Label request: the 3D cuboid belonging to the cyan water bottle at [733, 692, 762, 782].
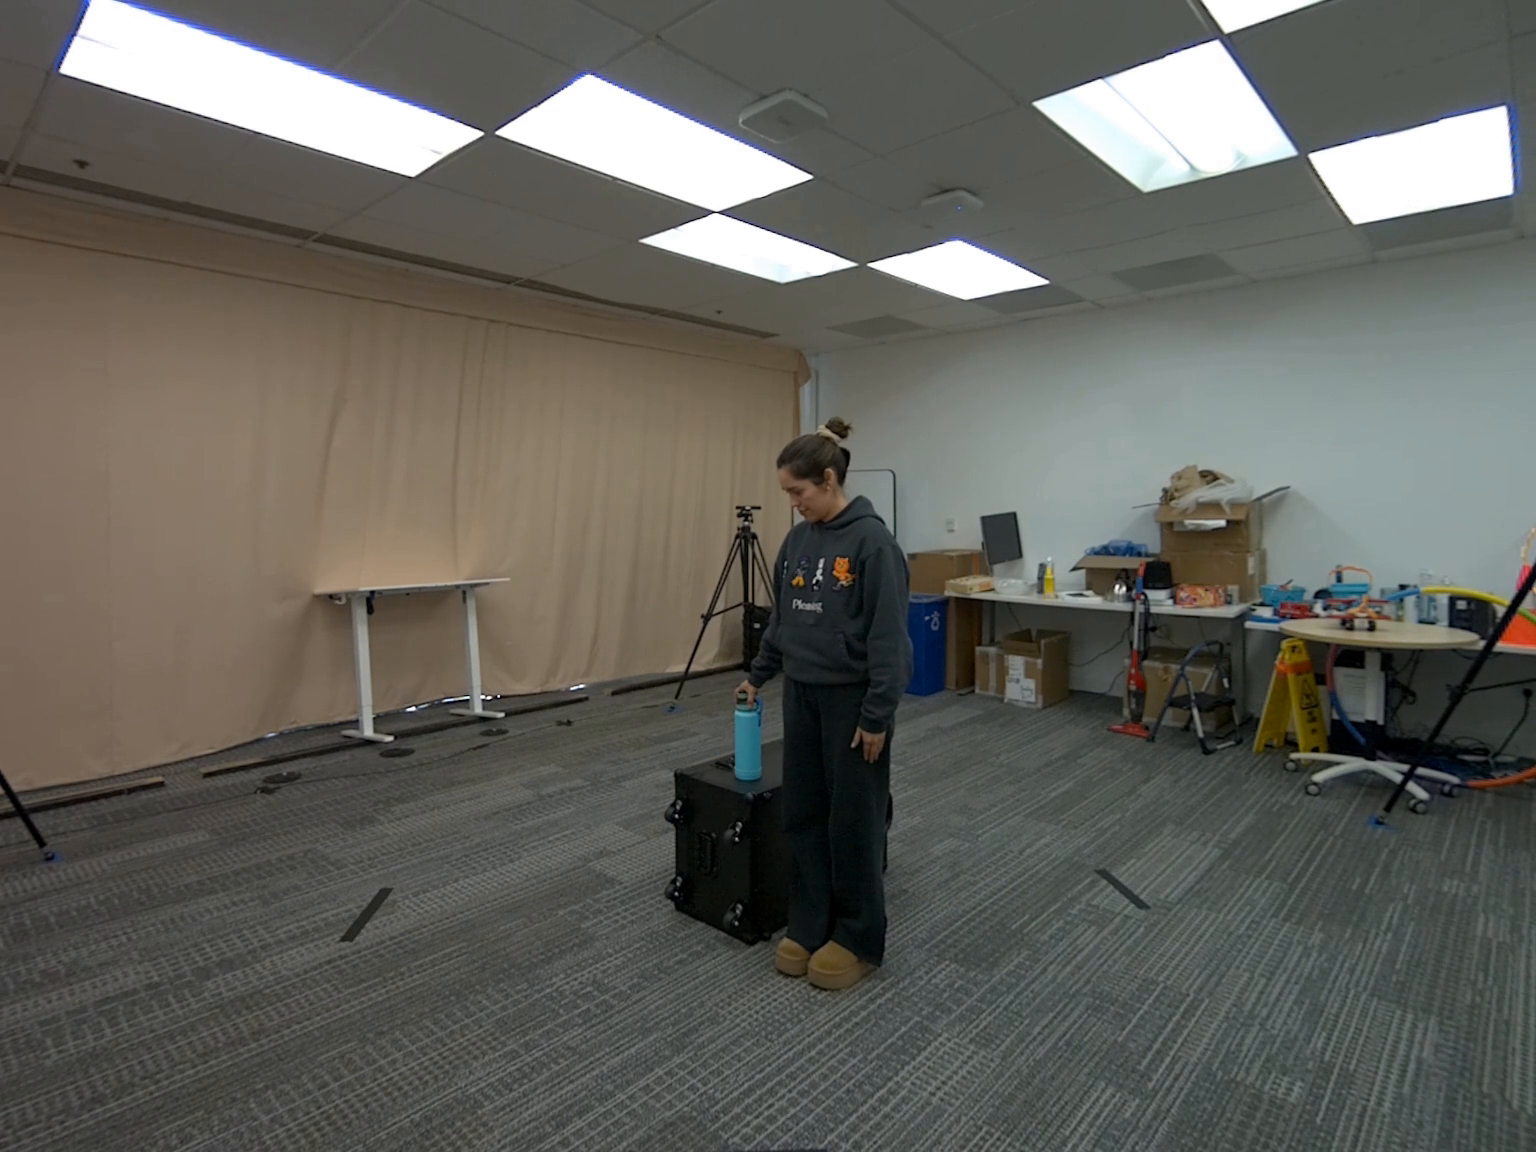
[{"bbox_3d":[-0.051,0.535,2.826,0.092,0.282,0.093,-1,4,-2],"label":"cyan water bottle"}]
